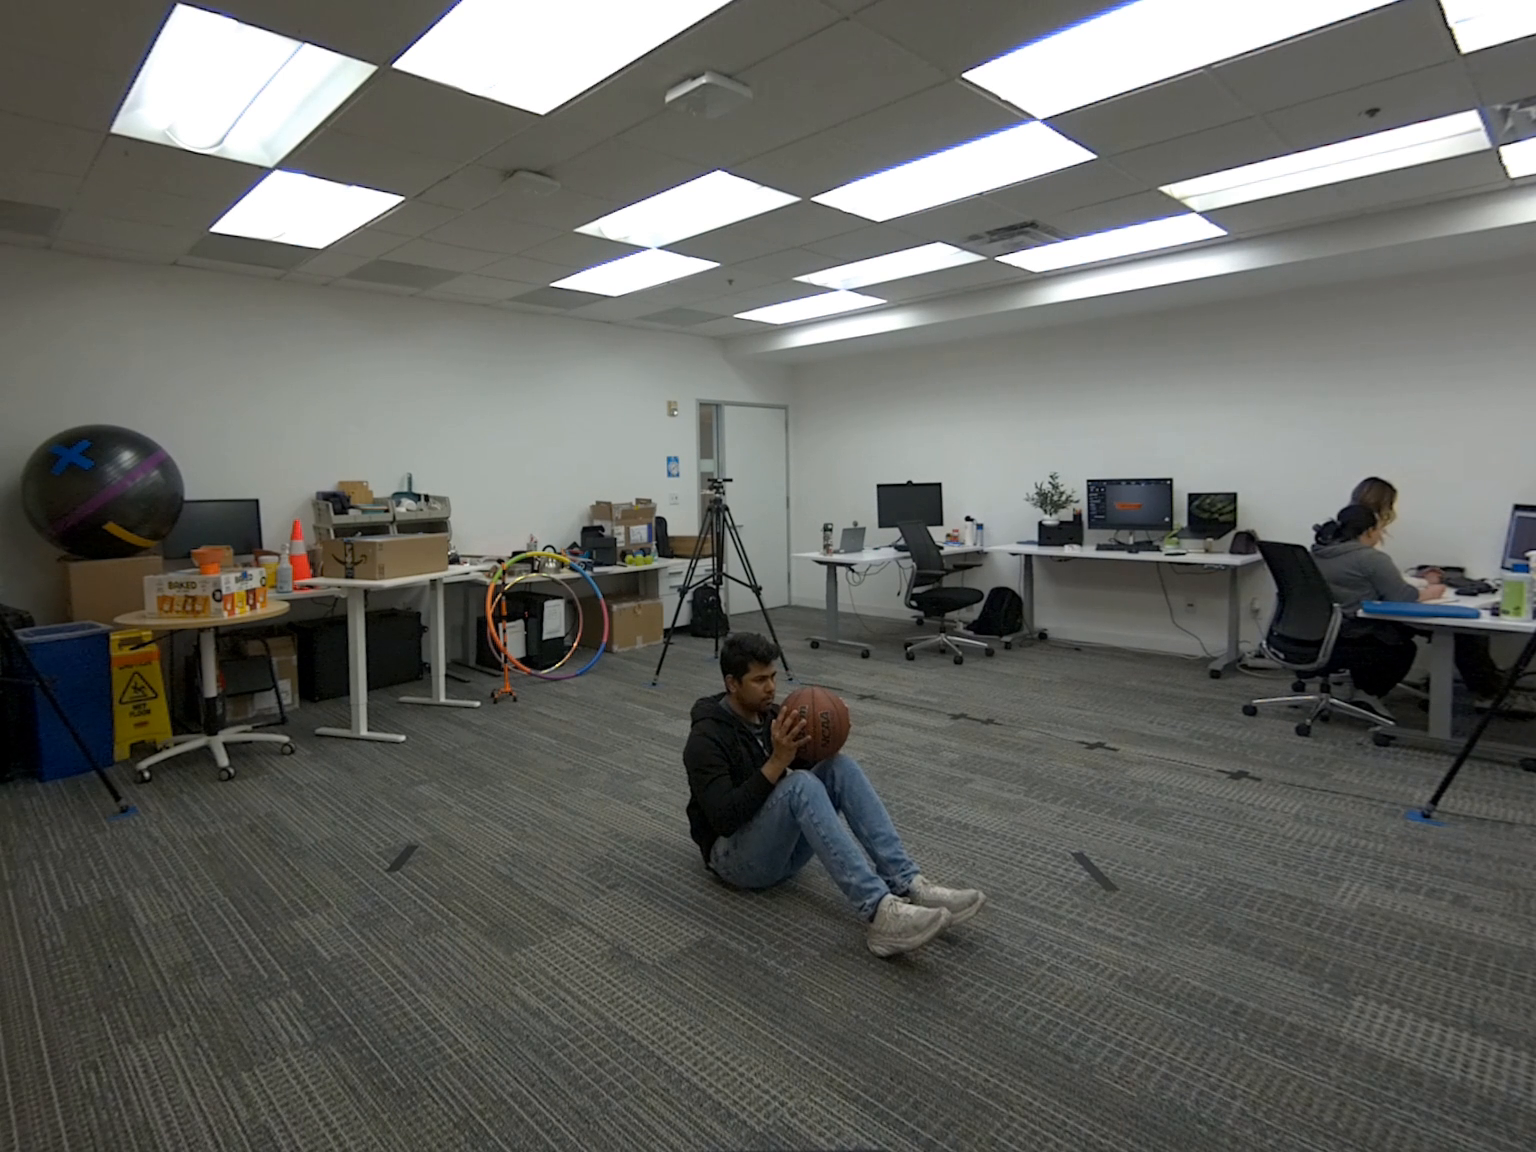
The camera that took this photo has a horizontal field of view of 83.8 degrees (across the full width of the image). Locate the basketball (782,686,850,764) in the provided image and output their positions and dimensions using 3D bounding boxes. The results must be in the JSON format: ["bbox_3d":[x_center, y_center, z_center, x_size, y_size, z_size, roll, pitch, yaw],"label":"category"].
[{"bbox_3d":[0.139,0.472,2.820,0.236,0.235,0.237,-1,5,-2],"label":"basketball"}]
